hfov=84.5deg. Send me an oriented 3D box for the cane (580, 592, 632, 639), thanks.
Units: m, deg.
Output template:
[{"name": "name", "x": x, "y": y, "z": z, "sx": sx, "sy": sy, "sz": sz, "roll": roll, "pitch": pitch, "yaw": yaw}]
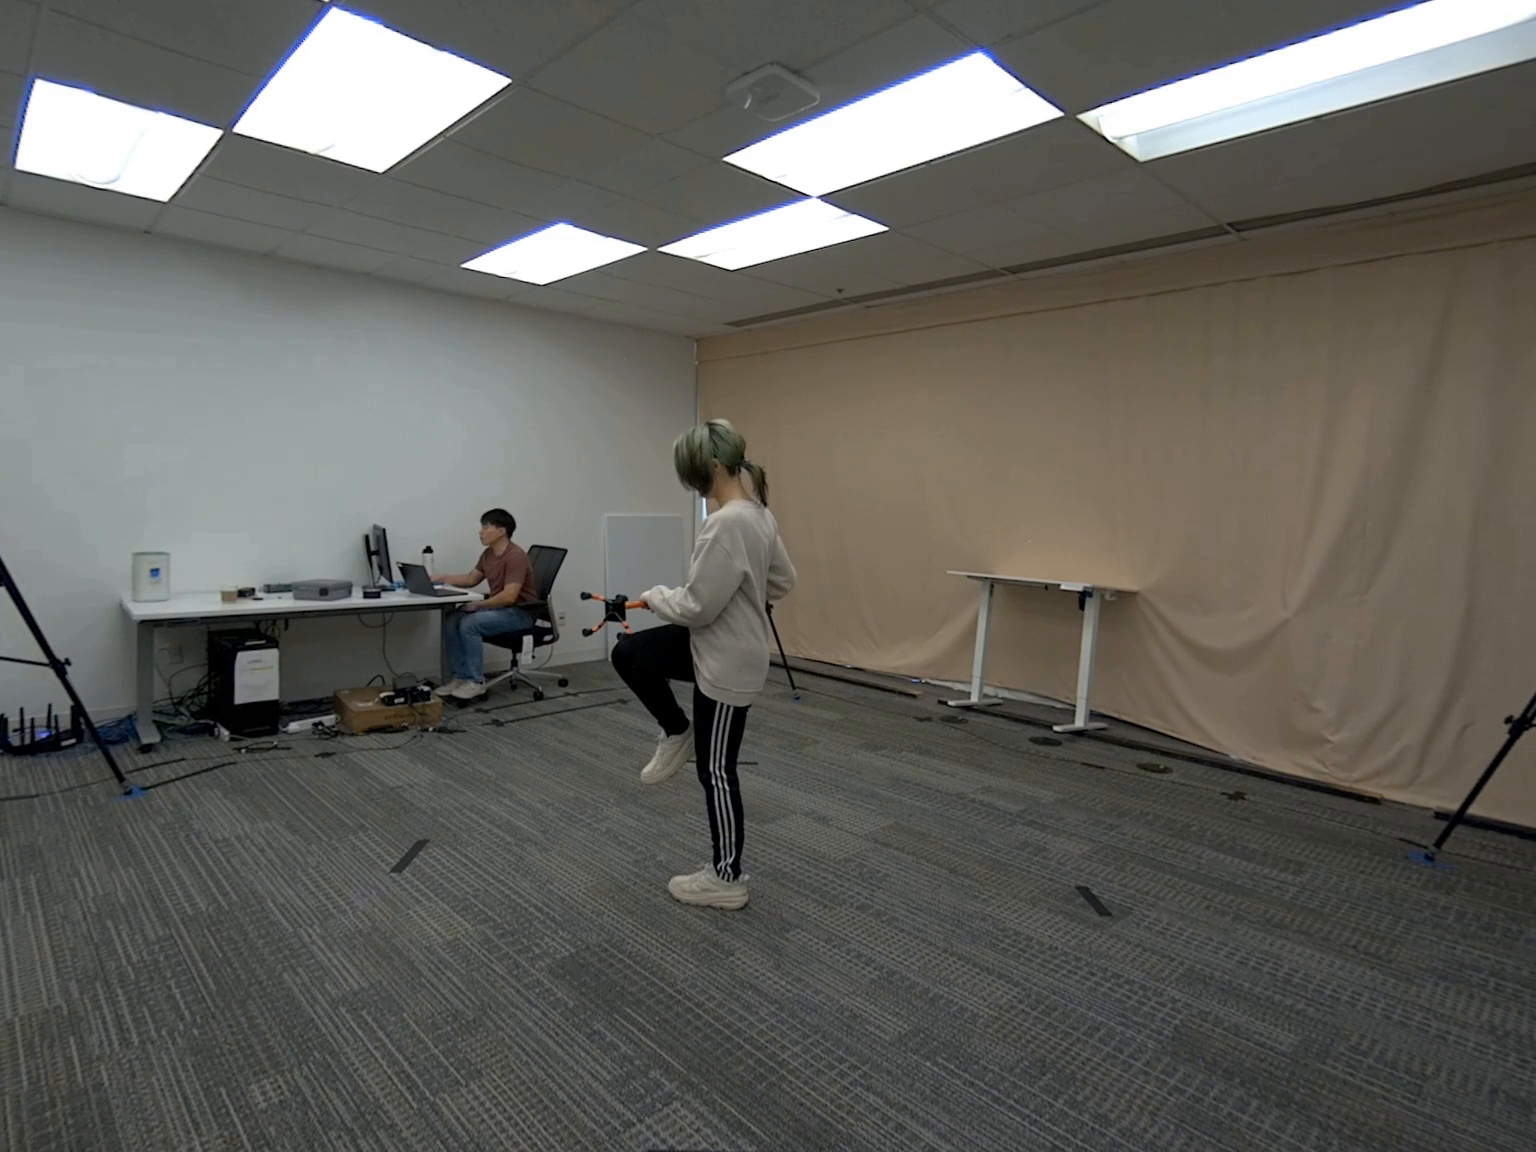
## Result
[{"name": "cane", "x": -0.305, "y": 0.098, "z": 3.109, "sx": 0.211, "sy": 0.151, "sz": 0.888, "roll": 0, "pitch": 4, "yaw": 39}]
